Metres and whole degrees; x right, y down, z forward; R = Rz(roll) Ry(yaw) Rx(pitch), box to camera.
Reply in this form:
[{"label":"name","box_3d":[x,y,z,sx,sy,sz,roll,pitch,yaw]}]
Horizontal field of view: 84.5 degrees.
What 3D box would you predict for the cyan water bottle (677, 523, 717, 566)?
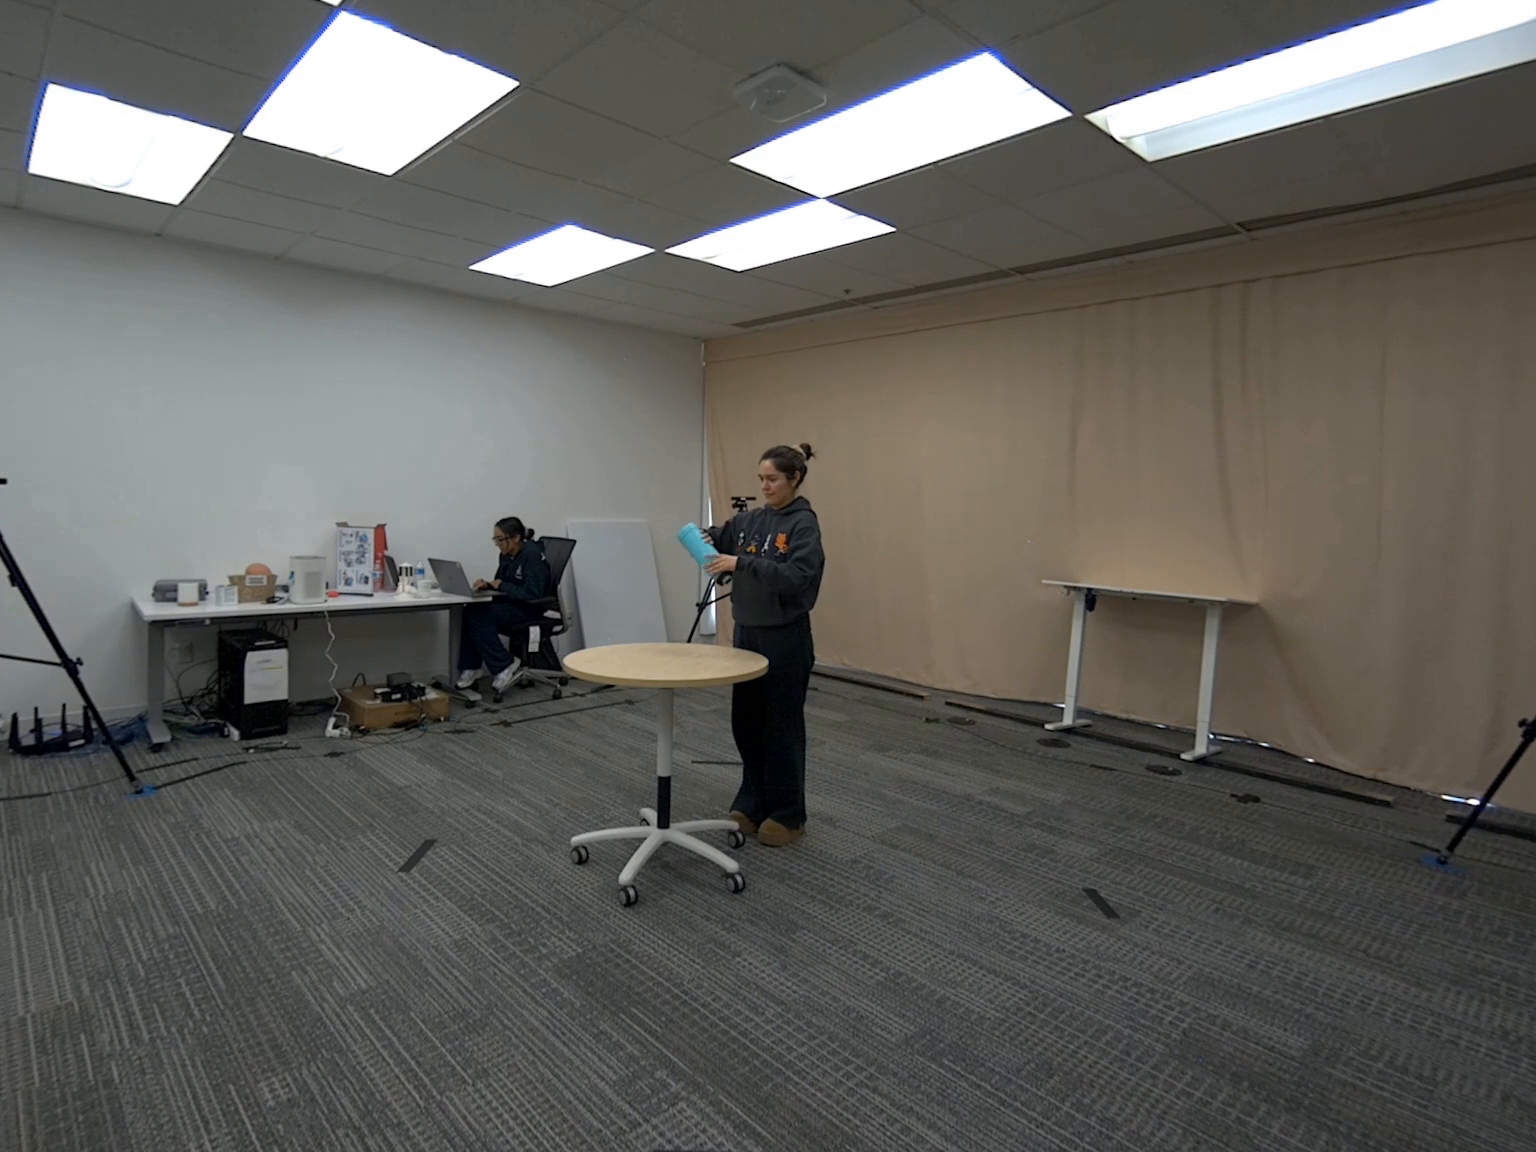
[{"label":"cyan water bottle","box_3d":[-0.257,-0.082,3.323,0.092,0.288,0.091,-37,-16,-13]}]
